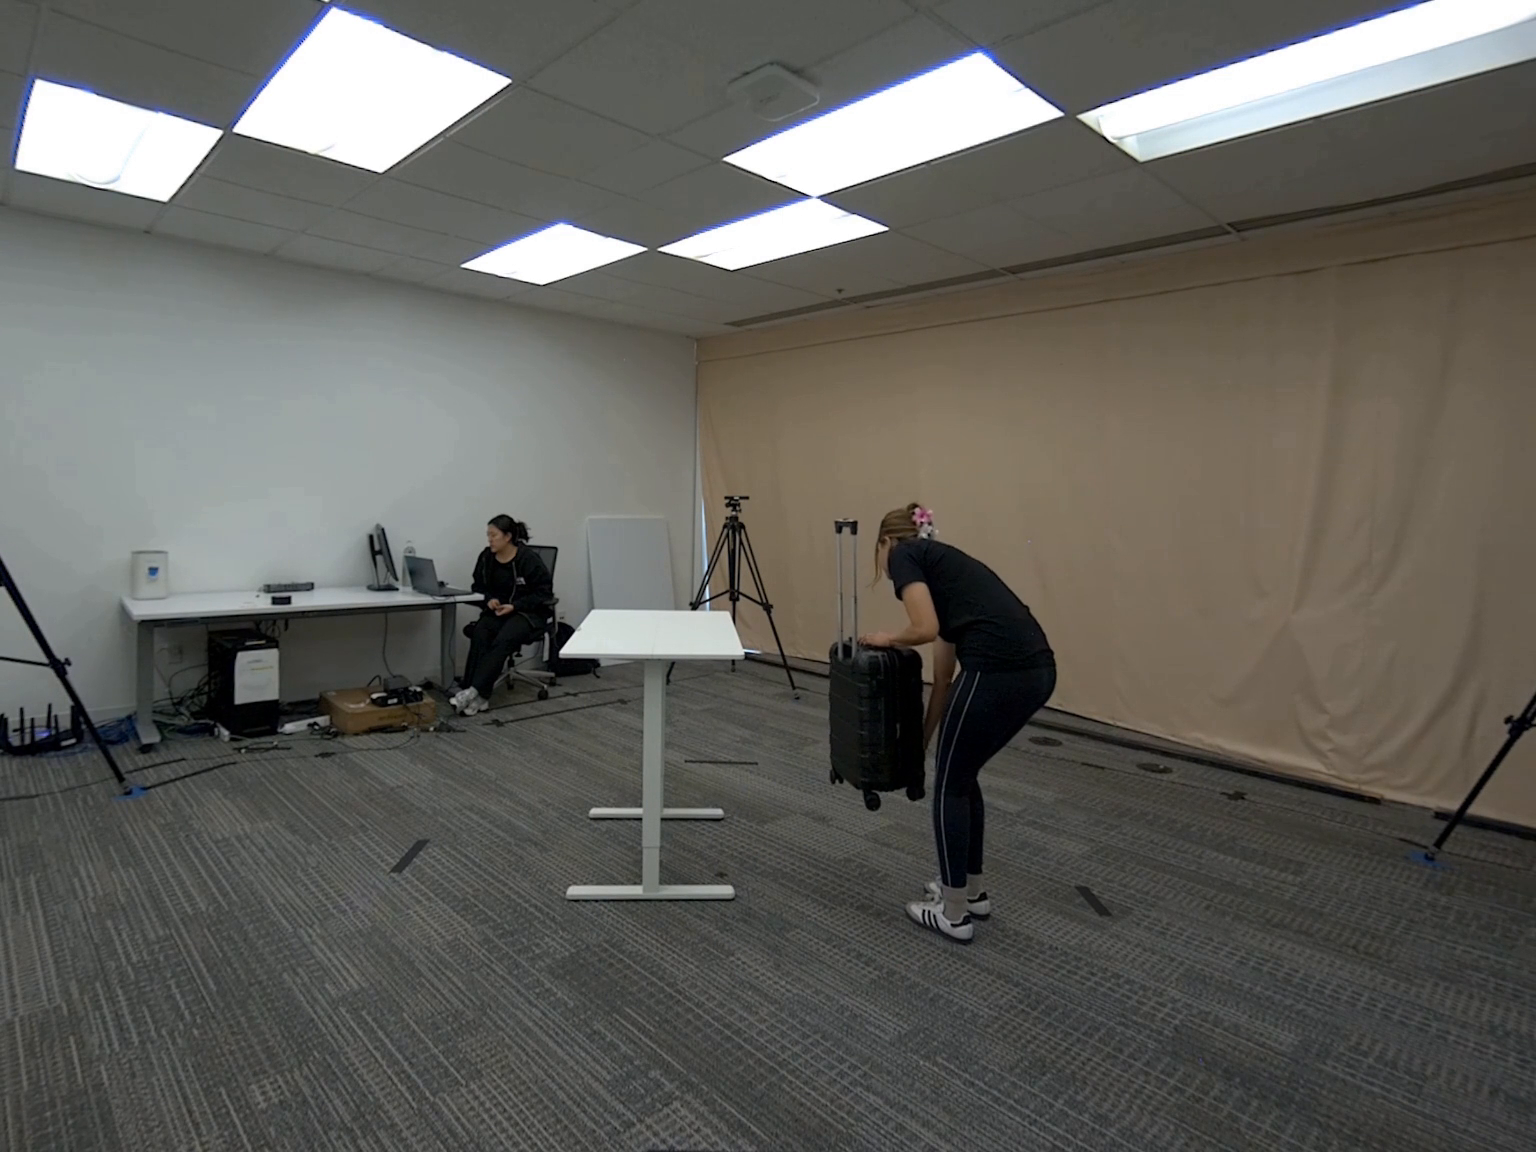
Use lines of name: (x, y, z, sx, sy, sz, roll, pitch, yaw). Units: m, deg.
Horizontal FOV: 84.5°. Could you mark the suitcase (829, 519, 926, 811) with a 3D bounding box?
suitcase: (0.380, 0.294, 3.015, 0.254, 0.977, 0.388, 0, 2, -13)
